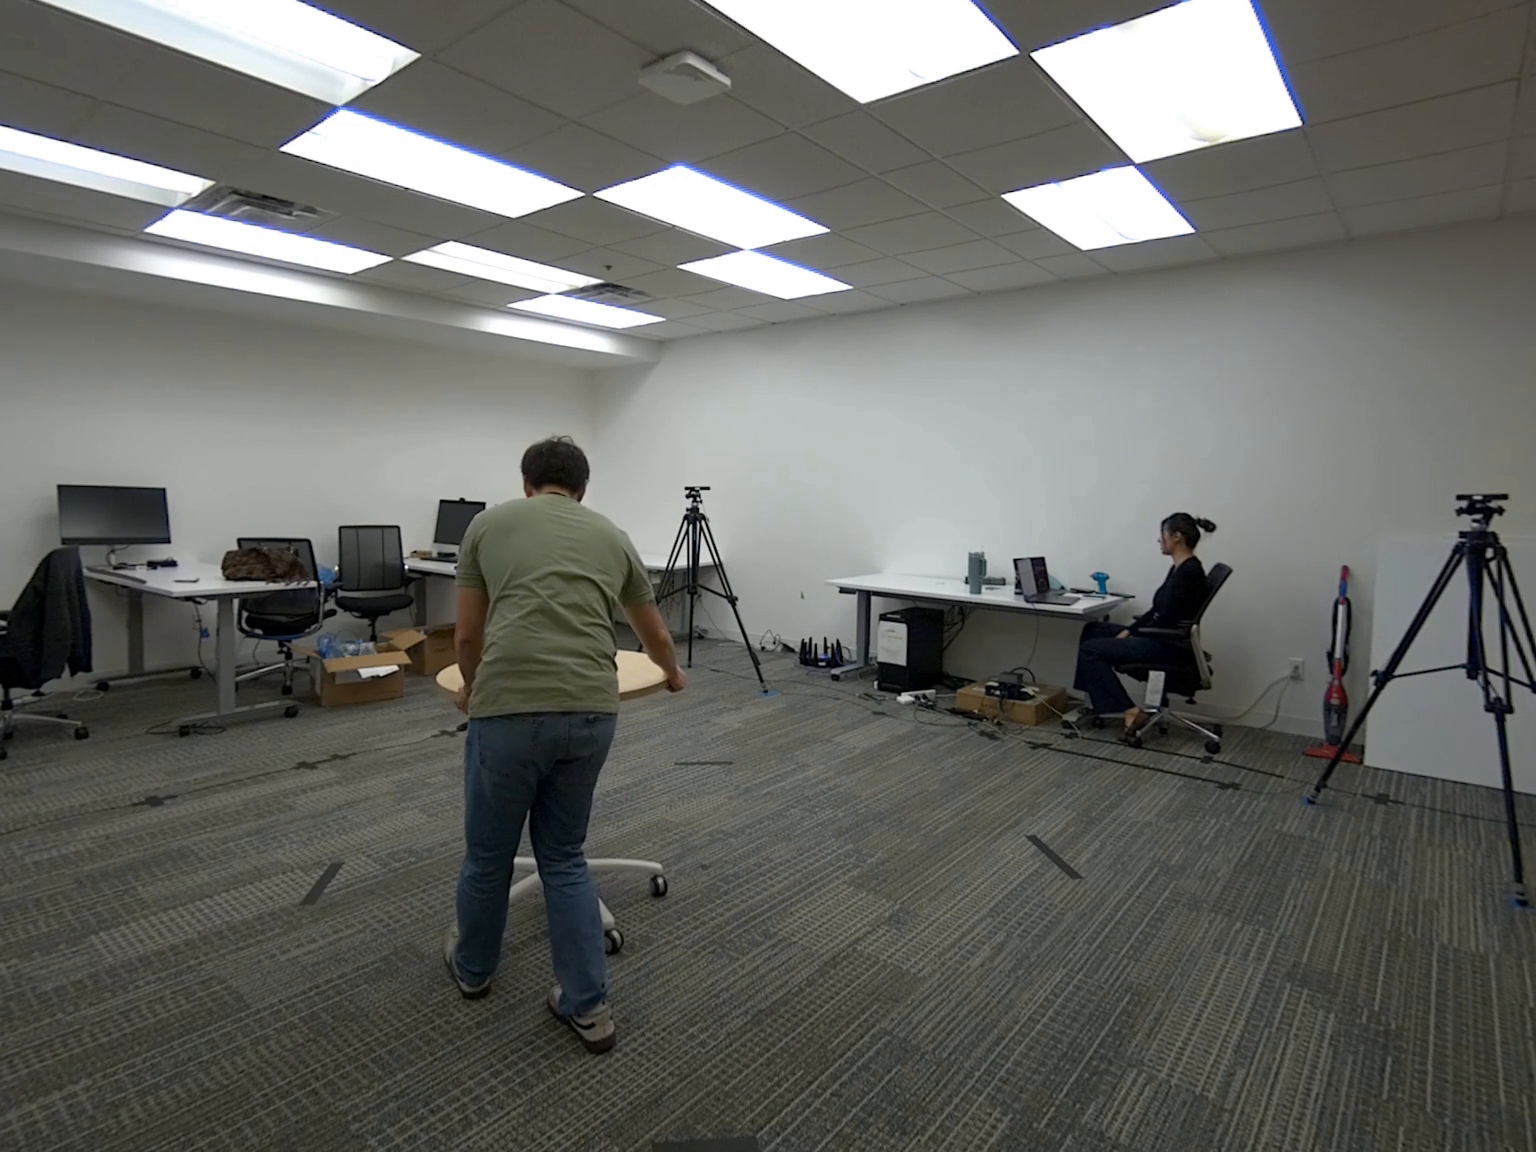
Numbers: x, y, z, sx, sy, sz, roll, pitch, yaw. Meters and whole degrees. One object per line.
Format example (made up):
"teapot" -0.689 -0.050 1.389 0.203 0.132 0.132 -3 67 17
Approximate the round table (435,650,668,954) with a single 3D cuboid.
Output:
"round table" -0.686 0.699 2.796 0.763 0.791 0.768 0 4 -2
